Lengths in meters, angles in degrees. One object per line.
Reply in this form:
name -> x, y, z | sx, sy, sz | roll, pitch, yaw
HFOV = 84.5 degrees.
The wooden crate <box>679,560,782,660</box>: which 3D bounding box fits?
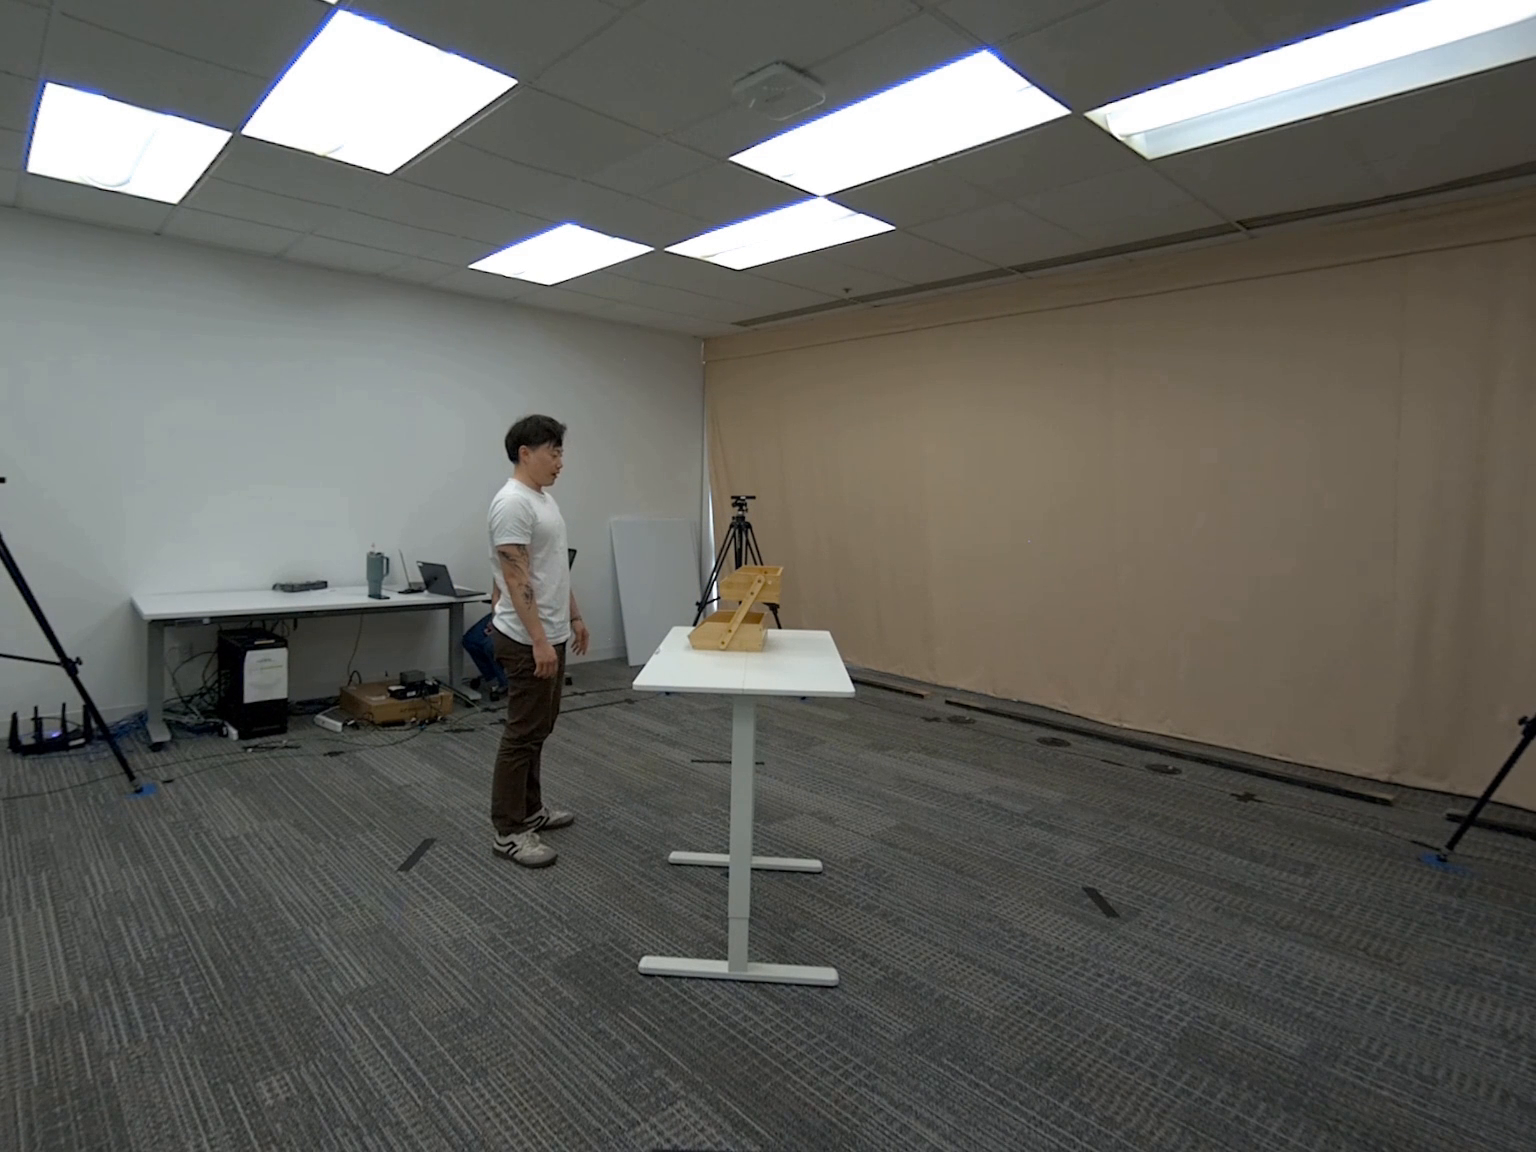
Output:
wooden crate -> -0.122, 0.106, 2.923 | 0.303, 0.272, 0.324 | 4, 5, 5
